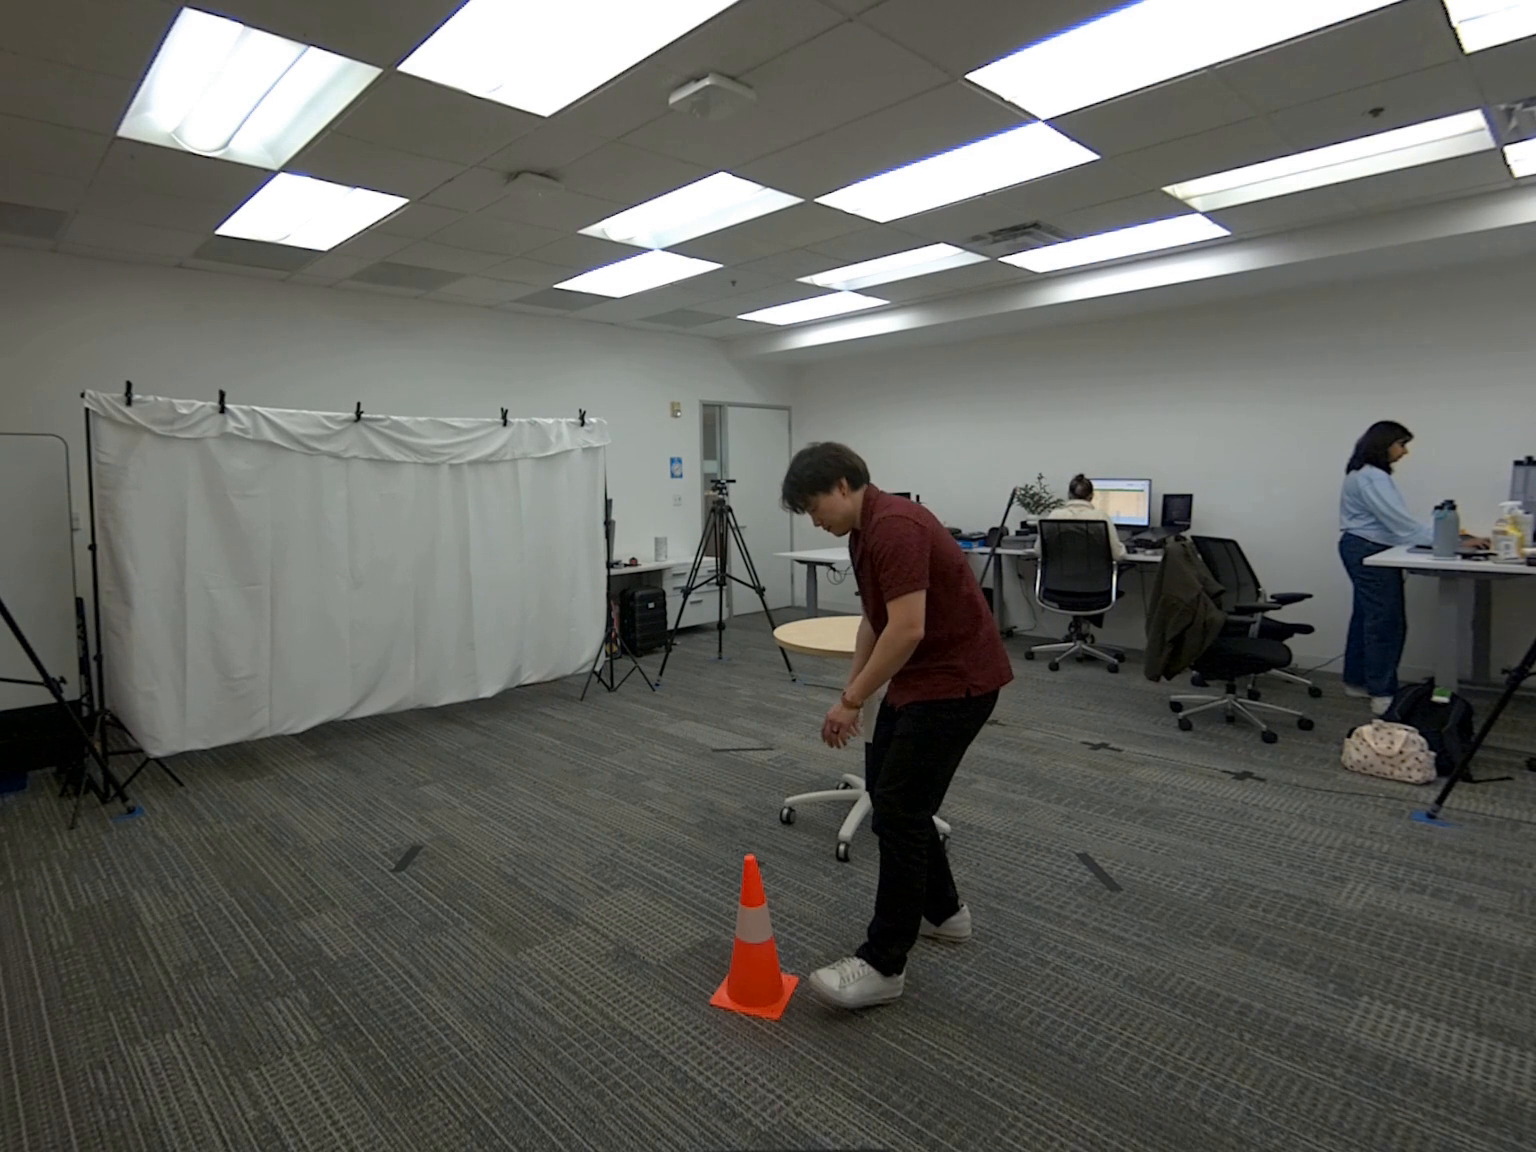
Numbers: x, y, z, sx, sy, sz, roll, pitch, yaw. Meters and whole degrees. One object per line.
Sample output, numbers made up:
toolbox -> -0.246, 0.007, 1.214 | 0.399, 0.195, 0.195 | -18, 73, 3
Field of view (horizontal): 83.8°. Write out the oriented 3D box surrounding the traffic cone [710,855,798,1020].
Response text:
traffic cone -> -0.029, 0.953, 2.319 | 0.209, 0.382, 0.200 | 0, 6, 21
